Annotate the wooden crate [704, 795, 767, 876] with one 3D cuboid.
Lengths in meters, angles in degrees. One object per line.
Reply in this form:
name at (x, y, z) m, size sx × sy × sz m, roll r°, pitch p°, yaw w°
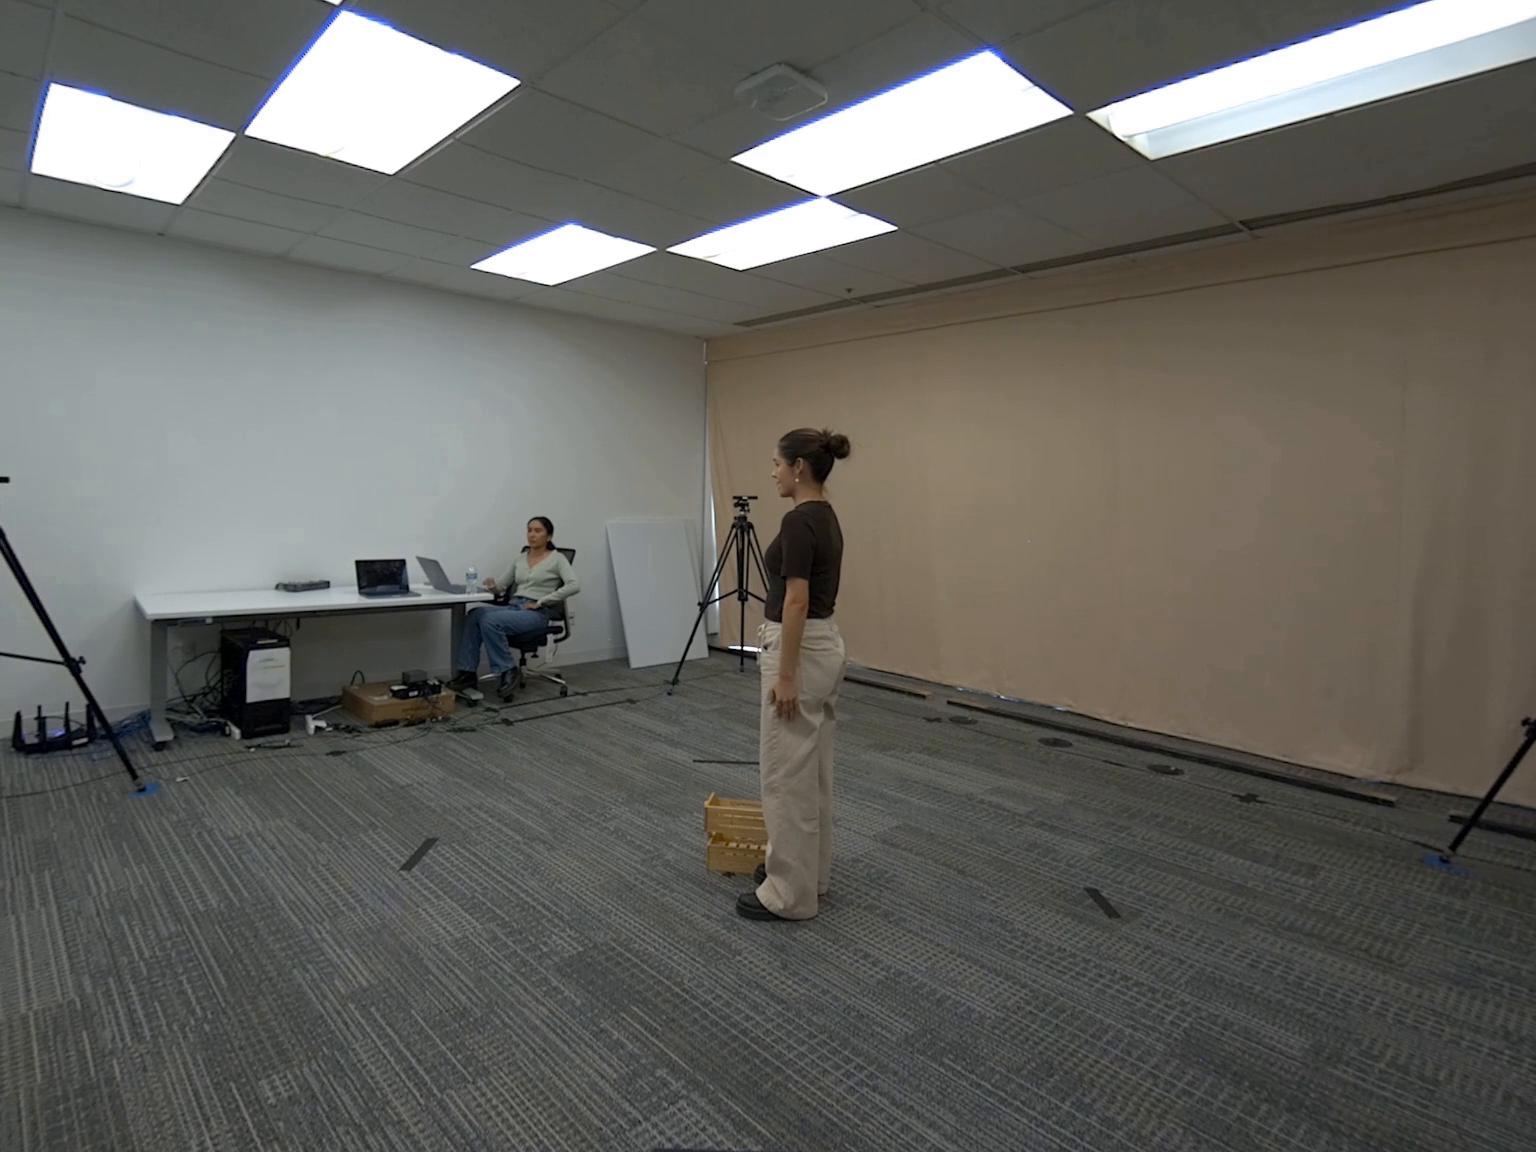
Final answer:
wooden crate at (-0.073, 0.960, 3.210) m, size 0.327 × 0.272 × 0.301 m, roll 2°, pitch 6°, yaw 8°
